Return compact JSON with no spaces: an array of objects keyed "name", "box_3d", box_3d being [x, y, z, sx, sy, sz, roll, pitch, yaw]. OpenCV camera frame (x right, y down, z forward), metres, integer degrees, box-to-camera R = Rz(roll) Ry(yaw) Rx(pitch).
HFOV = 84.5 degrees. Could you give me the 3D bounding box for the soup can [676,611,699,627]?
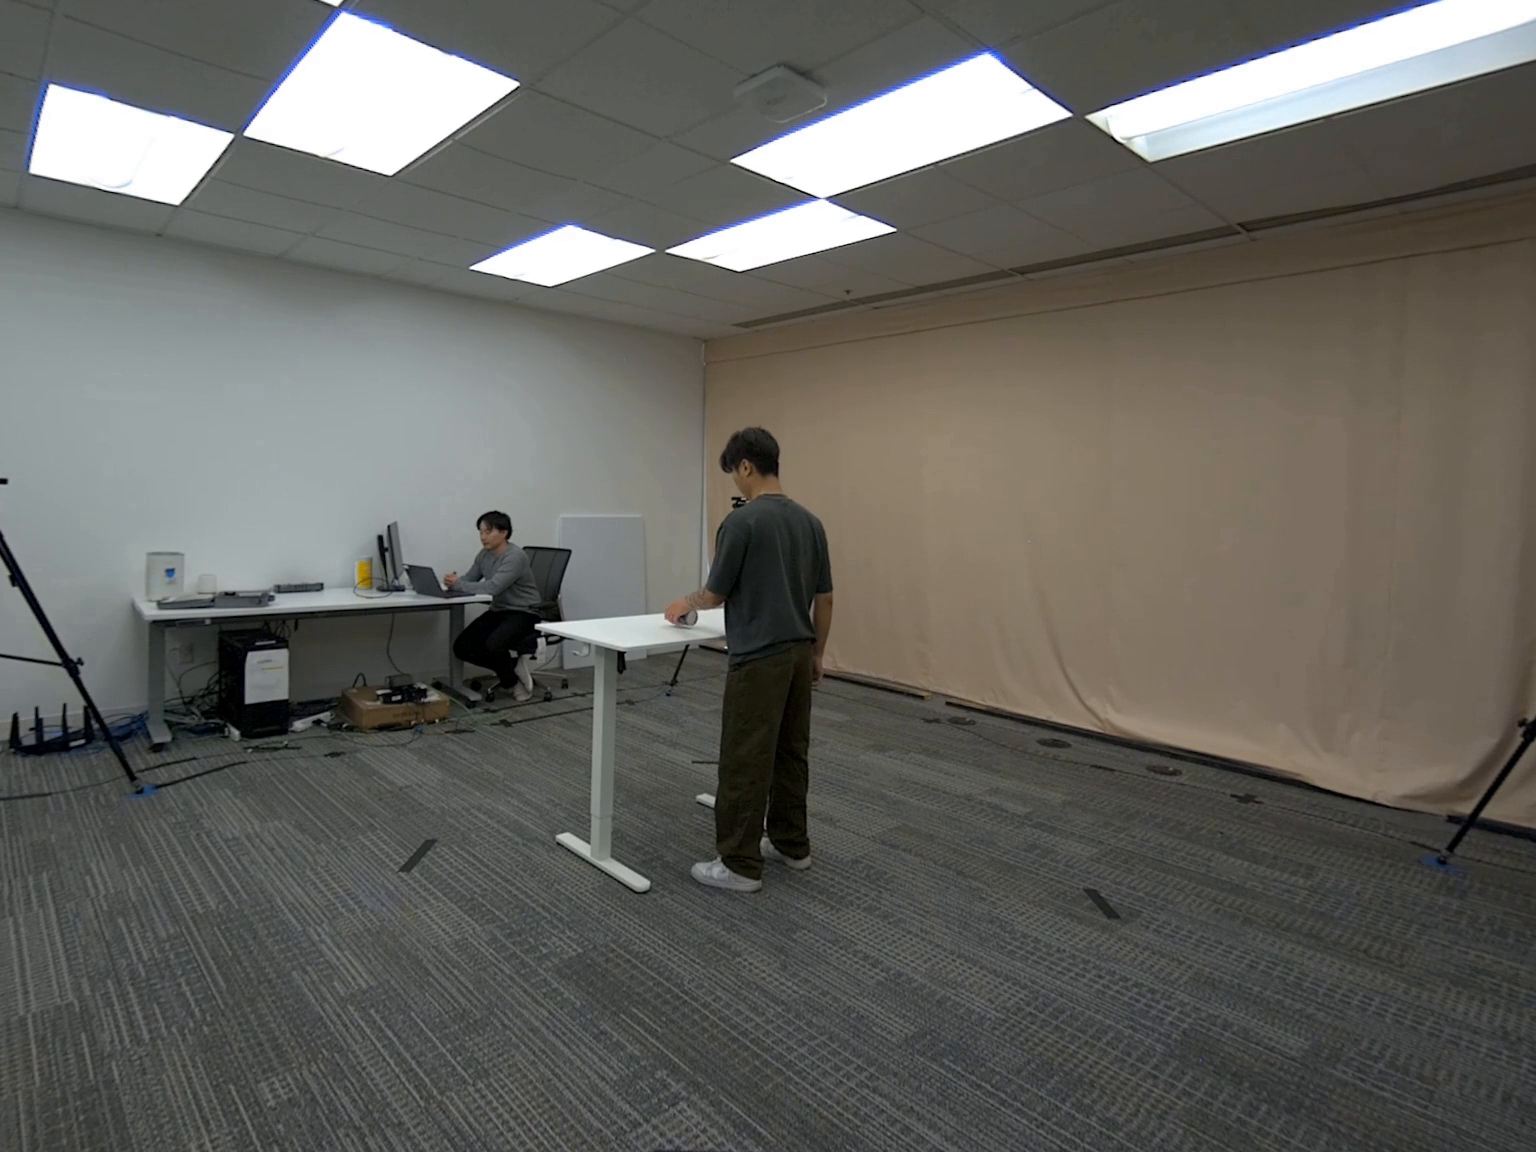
[{"name":"soup can","box_3d":[-0.344,0.151,3.319,0.124,0.067,0.065,7,7,38]}]
